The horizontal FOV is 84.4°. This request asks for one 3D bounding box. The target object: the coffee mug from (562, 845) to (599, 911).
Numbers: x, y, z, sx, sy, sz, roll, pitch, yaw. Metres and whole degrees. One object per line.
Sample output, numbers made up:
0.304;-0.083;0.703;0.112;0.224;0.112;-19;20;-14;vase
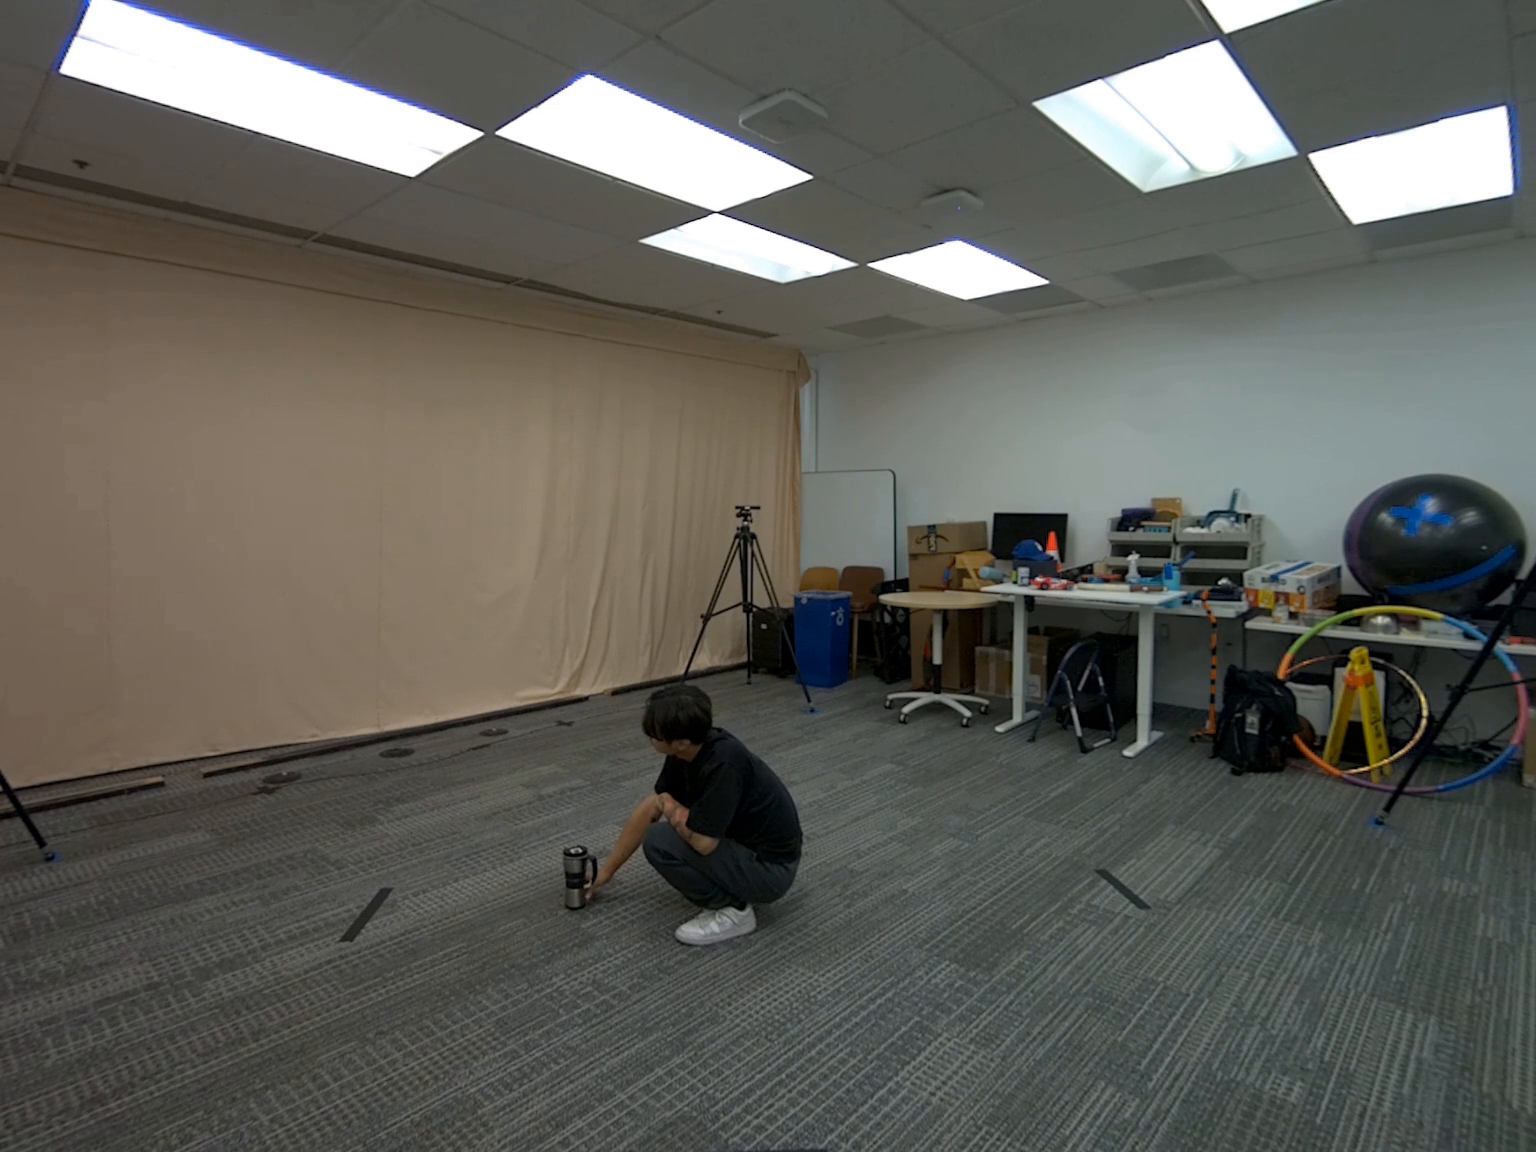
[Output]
-0.659;1.062;2.919;0.126;0.203;0.085;2;-4;39;coffee mug
